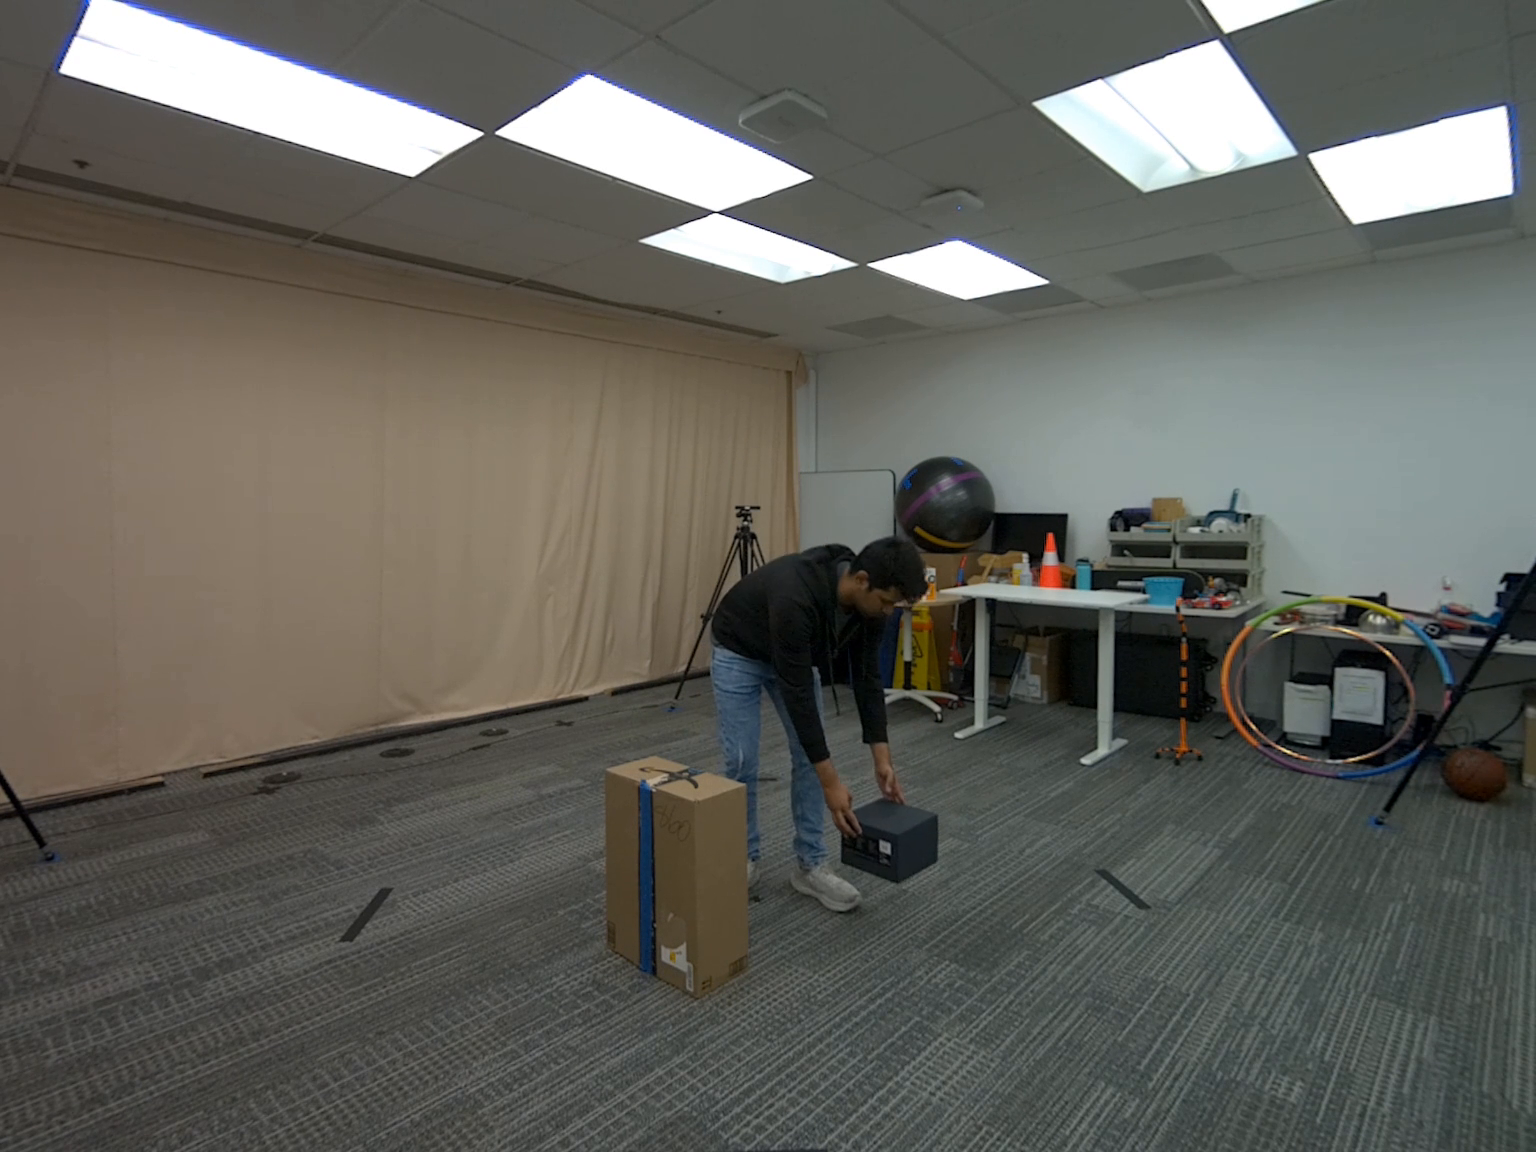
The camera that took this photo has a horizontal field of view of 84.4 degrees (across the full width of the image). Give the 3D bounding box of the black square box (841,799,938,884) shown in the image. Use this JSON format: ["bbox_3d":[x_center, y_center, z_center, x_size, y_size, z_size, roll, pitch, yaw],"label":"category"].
[{"bbox_3d":[0.388,0.829,2.666,0.224,0.155,0.221,3,7,44],"label":"black square box"}]
